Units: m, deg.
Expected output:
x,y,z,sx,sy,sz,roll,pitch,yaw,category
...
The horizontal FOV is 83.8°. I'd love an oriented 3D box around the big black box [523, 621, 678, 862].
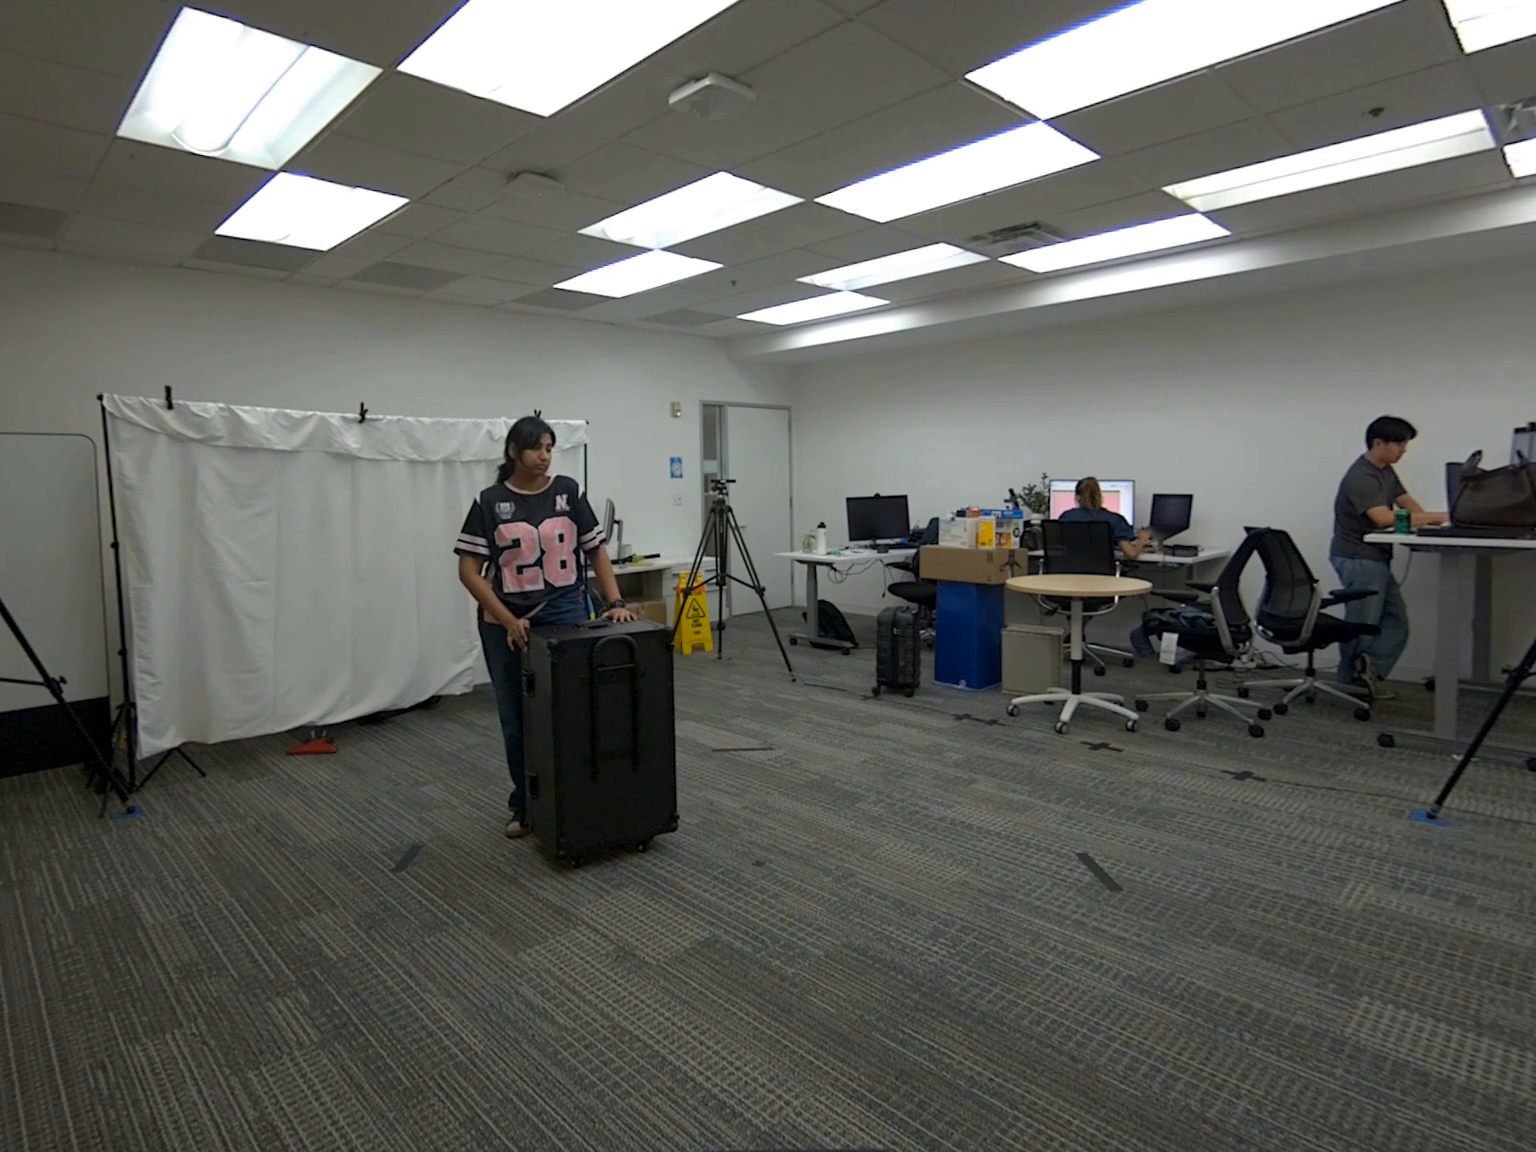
x,y,z,sx,sy,sz,roll,pitch,yaw,category
-0.628,0.621,3.245,0.511,0.865,0.396,-4,5,-32,big black box
